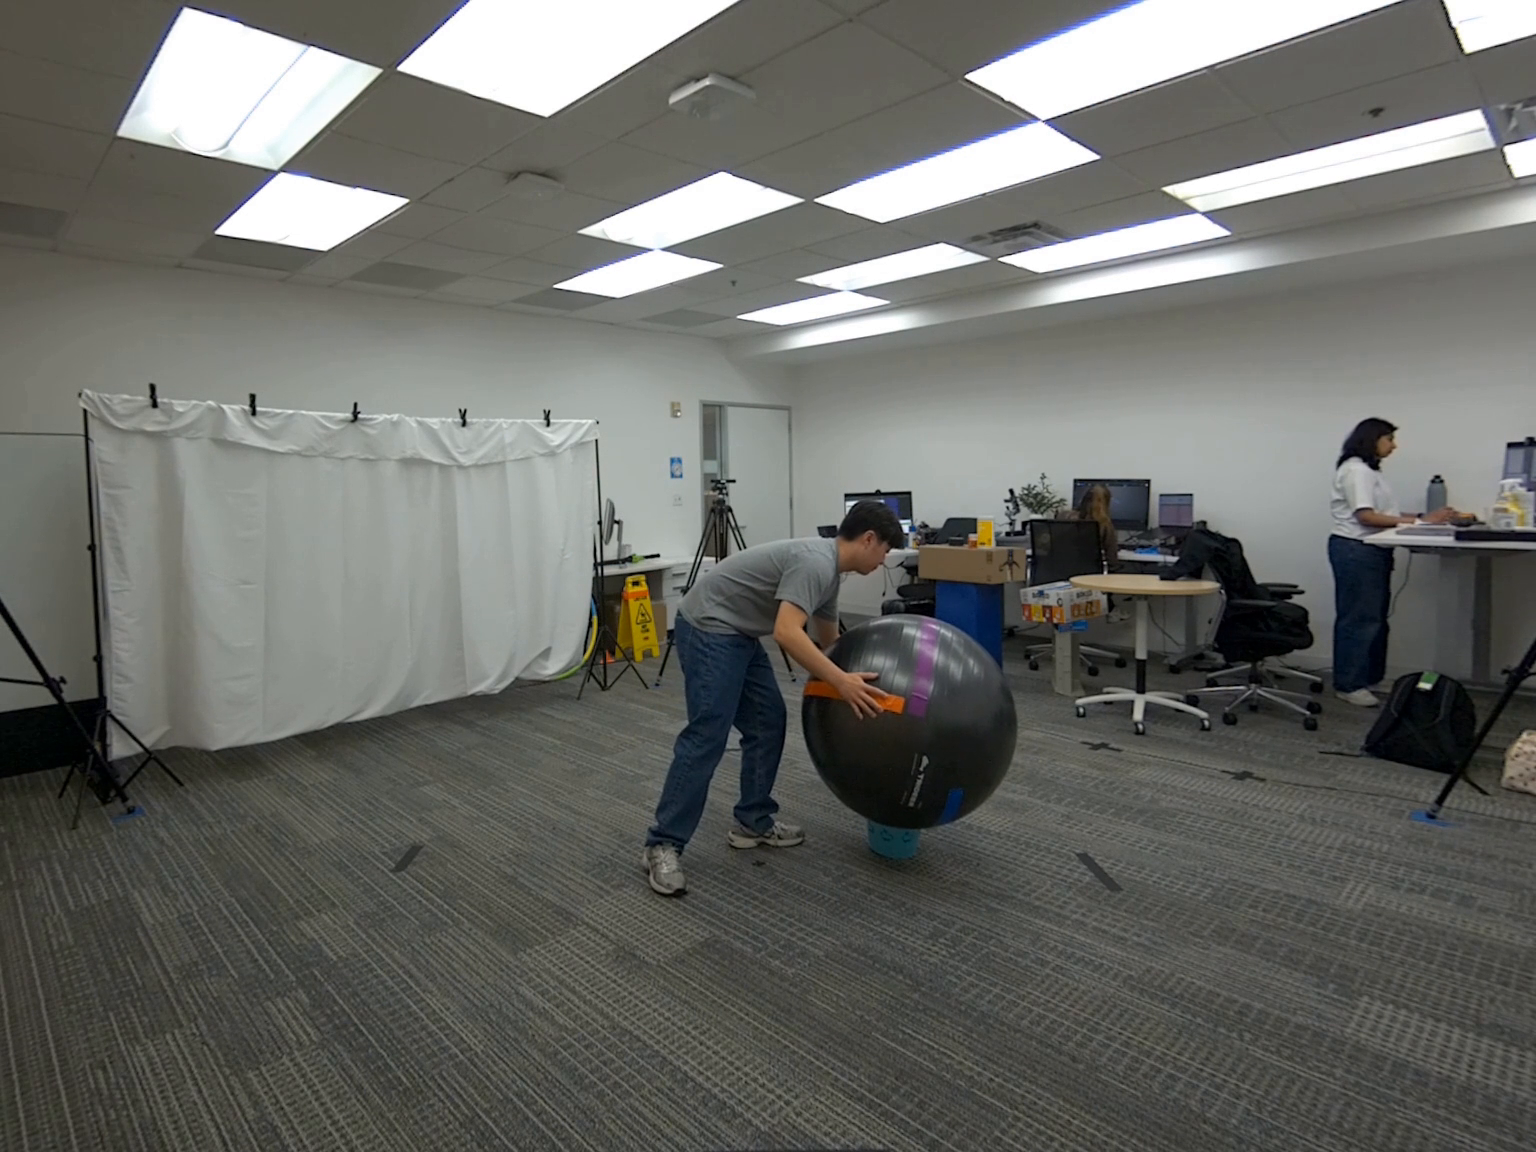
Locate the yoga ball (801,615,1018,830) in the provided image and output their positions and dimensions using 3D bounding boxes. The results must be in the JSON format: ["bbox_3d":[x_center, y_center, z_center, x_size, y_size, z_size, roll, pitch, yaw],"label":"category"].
[{"bbox_3d":[0.504,0.527,3.094,0.757,0.755,0.762,-1,5,-2],"label":"yoga ball"}]
